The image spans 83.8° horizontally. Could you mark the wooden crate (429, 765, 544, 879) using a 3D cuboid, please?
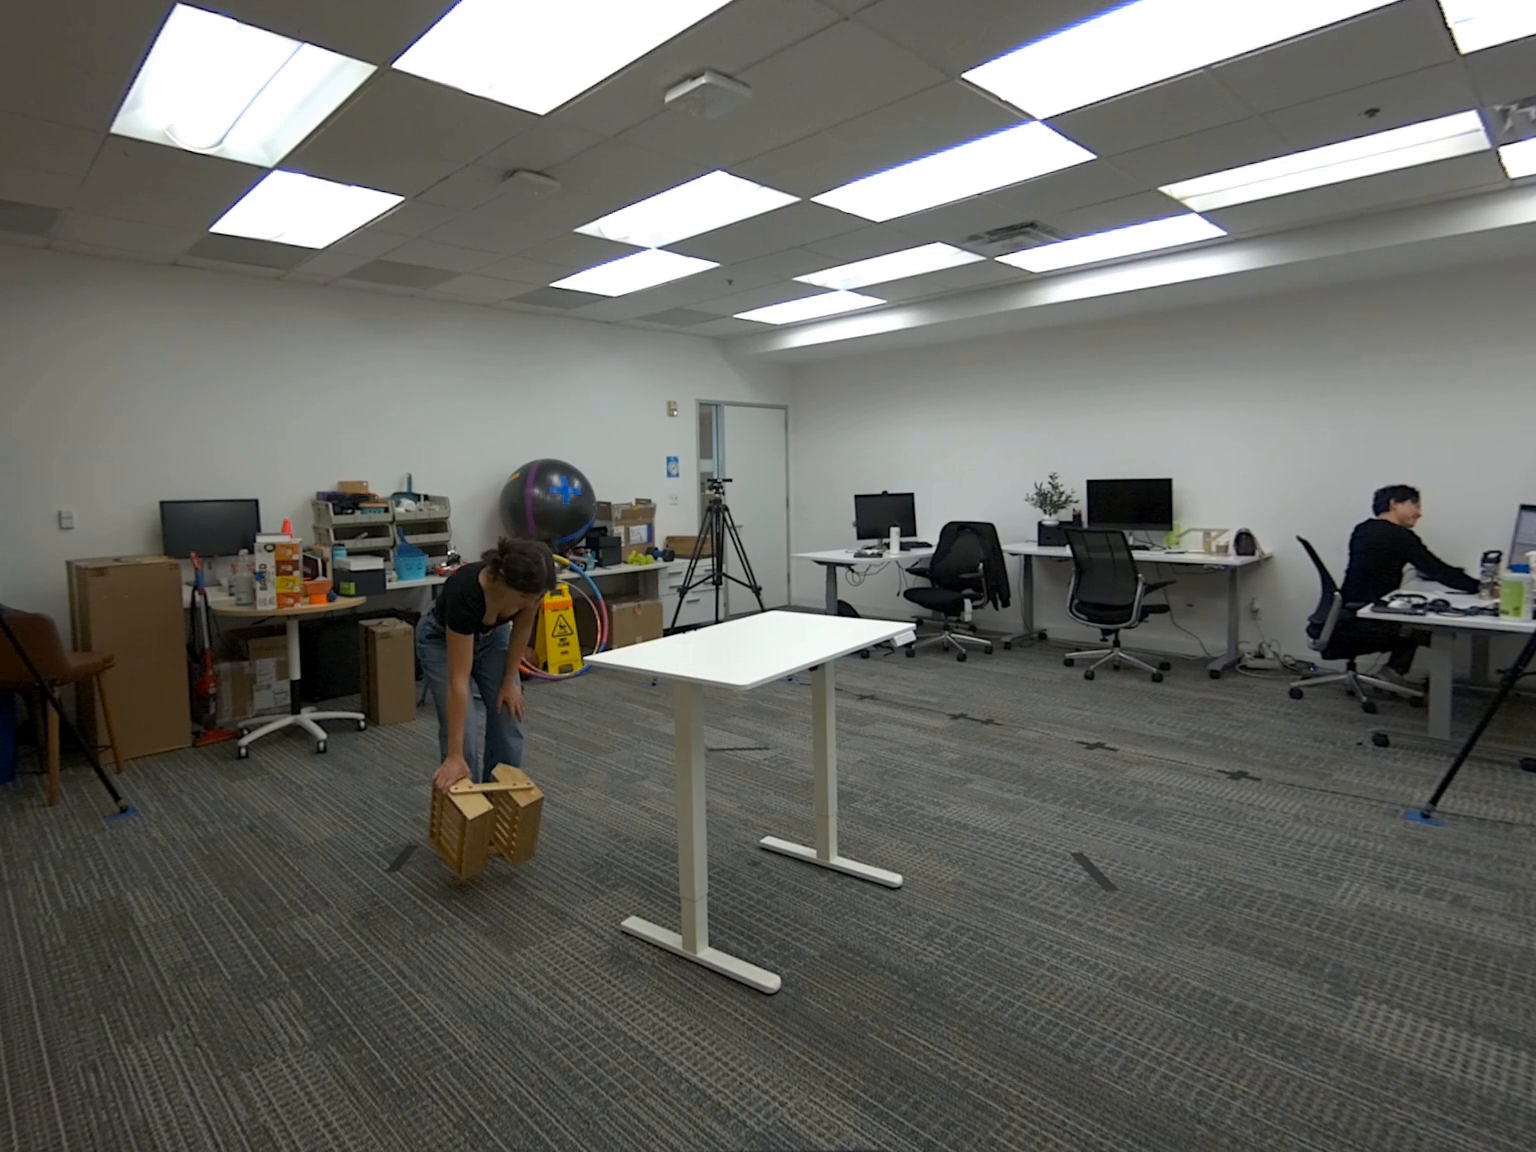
[{"bbox_3d":[-0.981,0.830,2.982,0.313,0.319,0.268,34,34,30],"label":"wooden crate"}]
